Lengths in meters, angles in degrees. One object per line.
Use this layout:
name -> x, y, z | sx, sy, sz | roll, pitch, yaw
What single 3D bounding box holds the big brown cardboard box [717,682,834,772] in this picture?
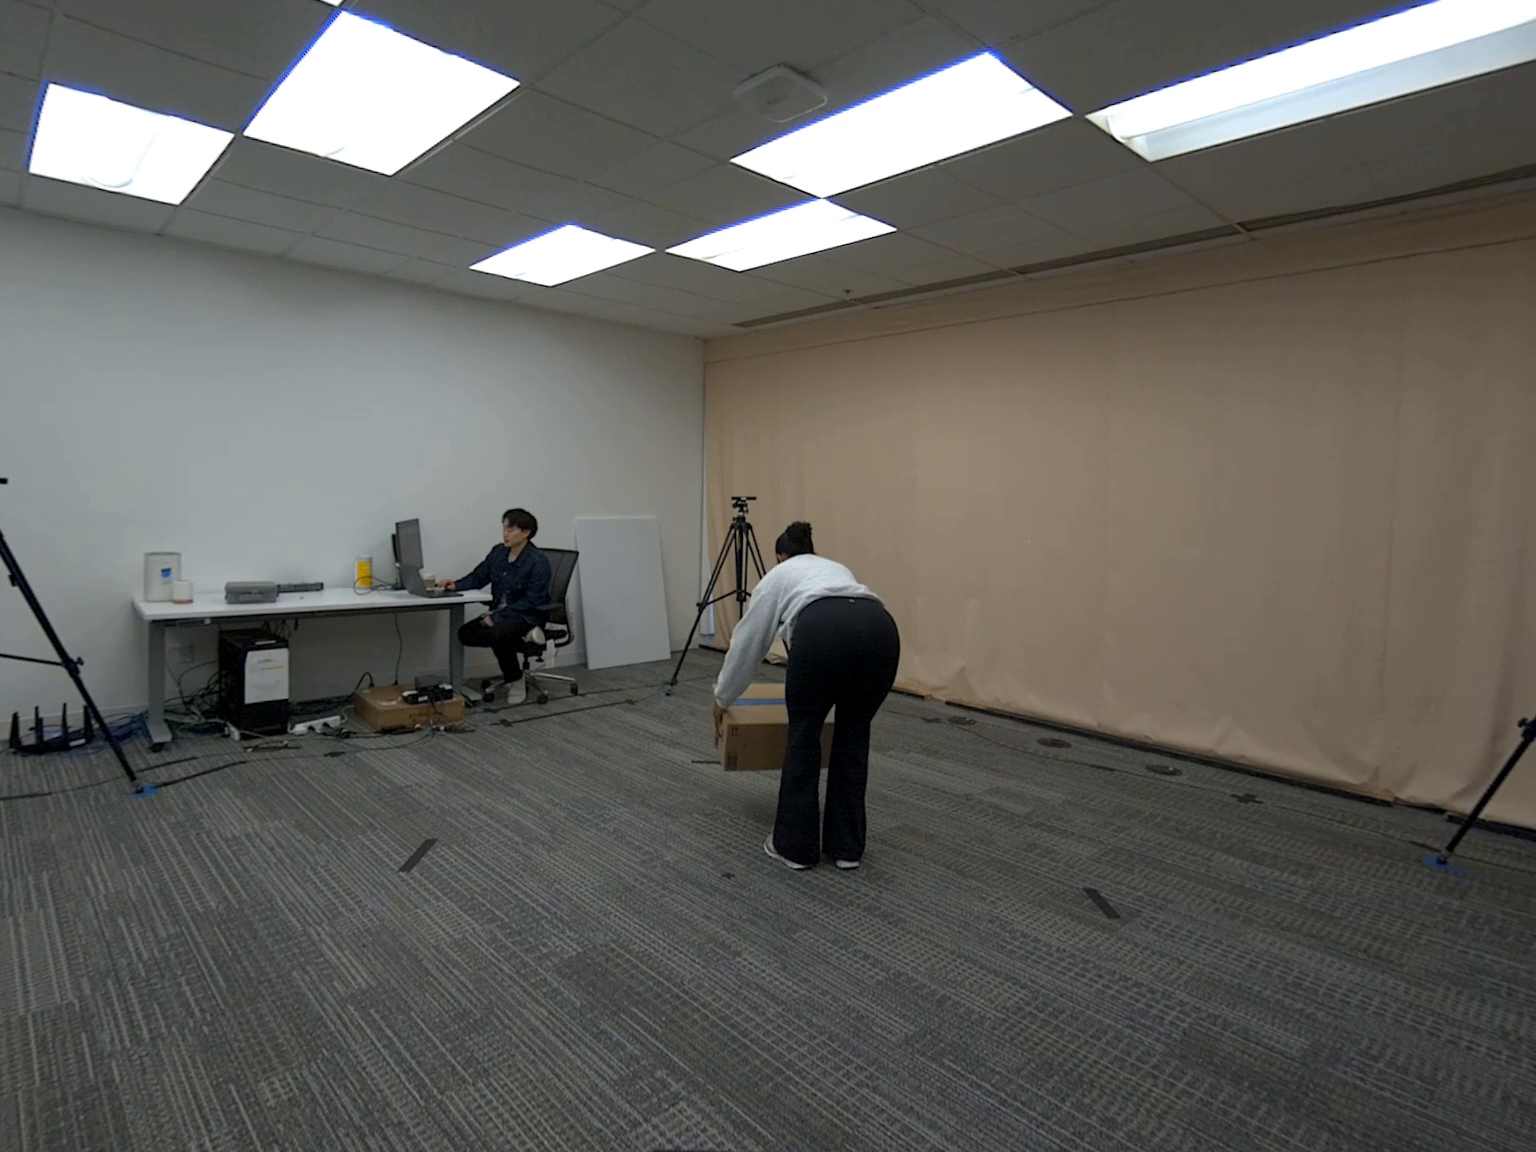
big brown cardboard box -> 0.060, 0.642, 3.679 | 0.583, 0.231, 0.426 | 0, 15, -13
